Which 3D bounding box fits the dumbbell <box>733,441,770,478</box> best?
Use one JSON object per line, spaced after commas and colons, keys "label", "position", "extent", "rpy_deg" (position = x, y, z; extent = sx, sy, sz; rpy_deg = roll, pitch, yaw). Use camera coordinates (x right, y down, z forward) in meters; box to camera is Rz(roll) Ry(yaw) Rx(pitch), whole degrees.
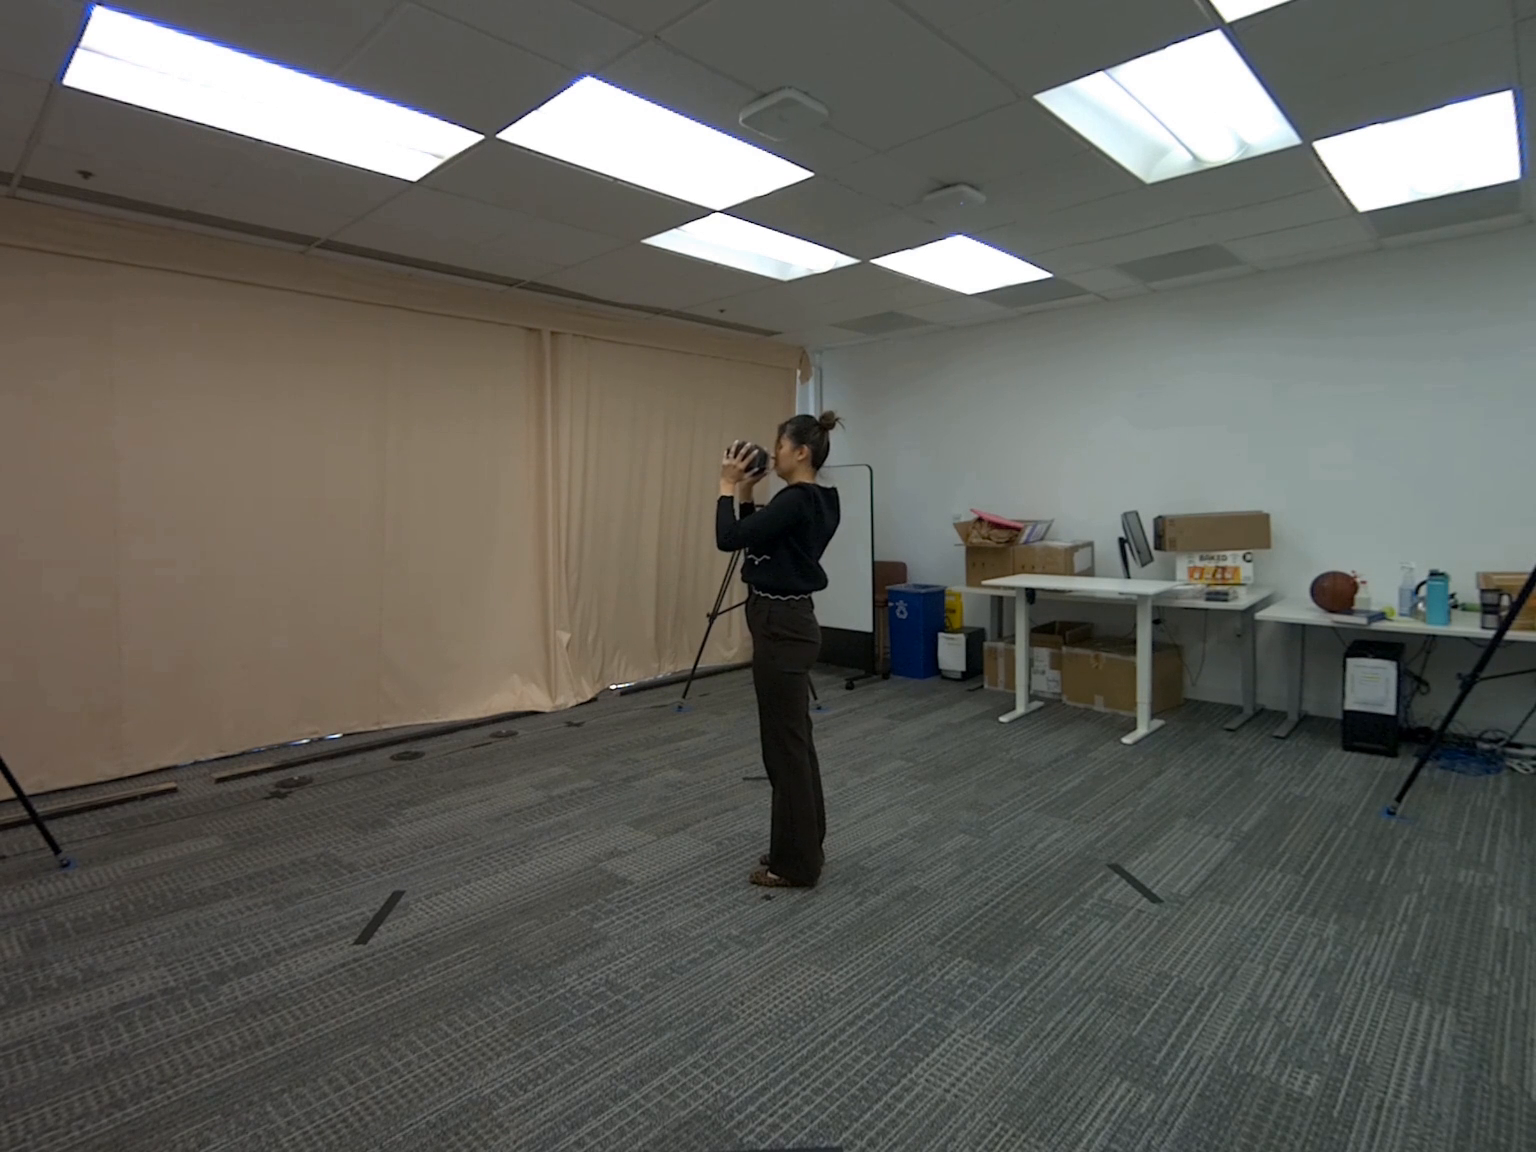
{"label": "dumbbell", "position": [-0.066, -0.433, 3.156], "extent": [0.124, 0.109, 0.290], "rpy_deg": [-23, -1, 13]}
